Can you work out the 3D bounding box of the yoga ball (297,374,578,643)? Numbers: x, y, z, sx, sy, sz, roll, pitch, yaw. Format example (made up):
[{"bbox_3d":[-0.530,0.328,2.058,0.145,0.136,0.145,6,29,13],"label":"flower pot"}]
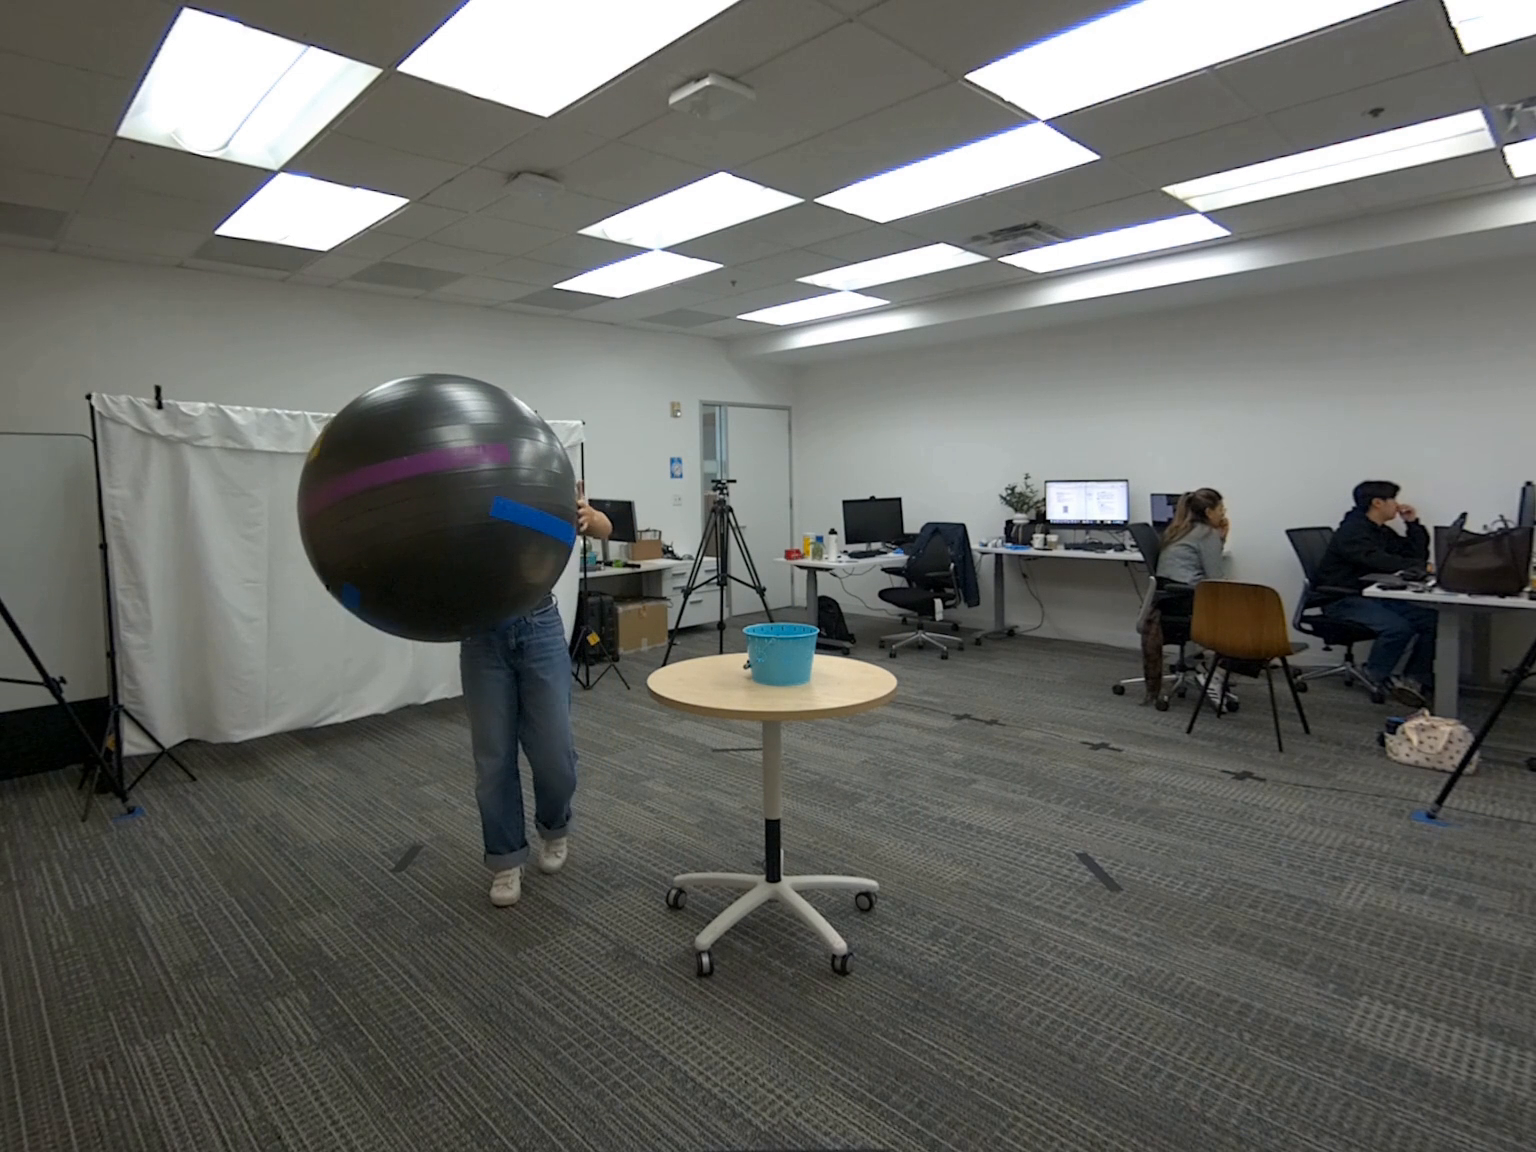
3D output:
[{"bbox_3d":[-0.925,-0.188,2.432,0.757,0.755,0.762,-1,5,-2],"label":"yoga ball"}]
